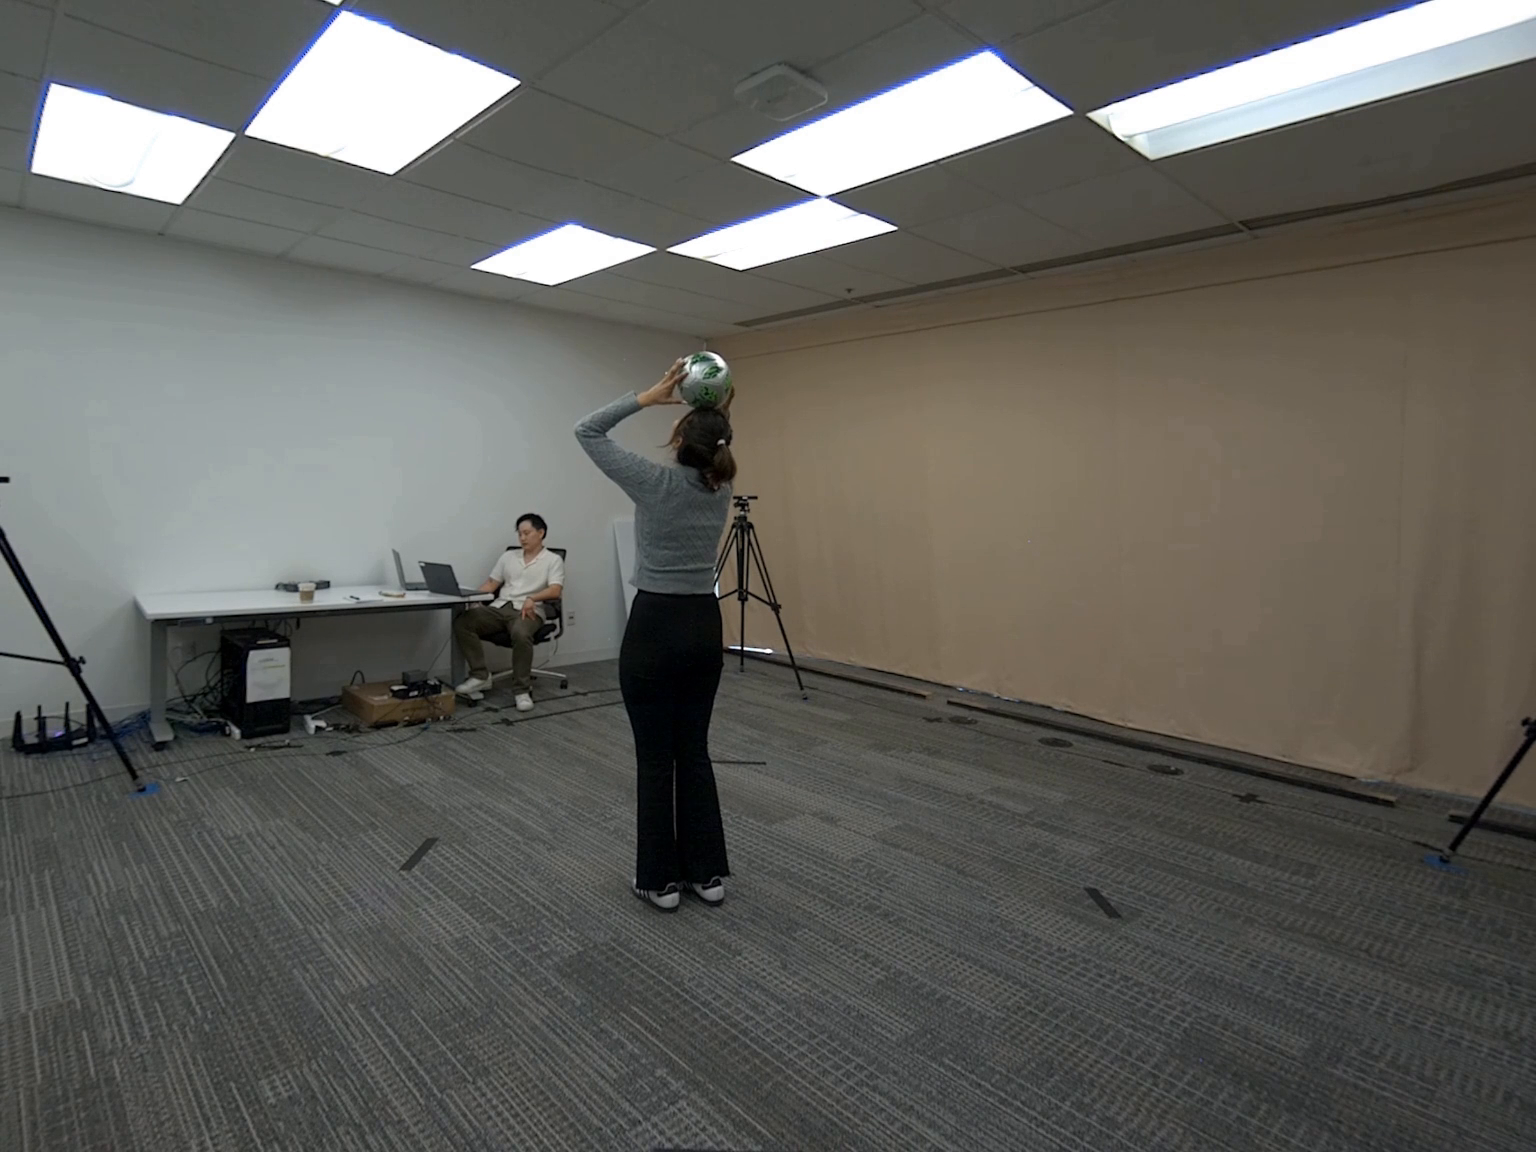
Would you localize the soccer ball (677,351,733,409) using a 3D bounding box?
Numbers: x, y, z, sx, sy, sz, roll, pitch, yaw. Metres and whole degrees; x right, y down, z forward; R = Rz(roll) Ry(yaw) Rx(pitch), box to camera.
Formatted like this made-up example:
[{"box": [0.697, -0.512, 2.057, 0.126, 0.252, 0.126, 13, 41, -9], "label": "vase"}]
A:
[{"box": [-0.219, -0.640, 2.766, 0.187, 0.187, 0.188, 1, 4, -1], "label": "soccer ball"}]
